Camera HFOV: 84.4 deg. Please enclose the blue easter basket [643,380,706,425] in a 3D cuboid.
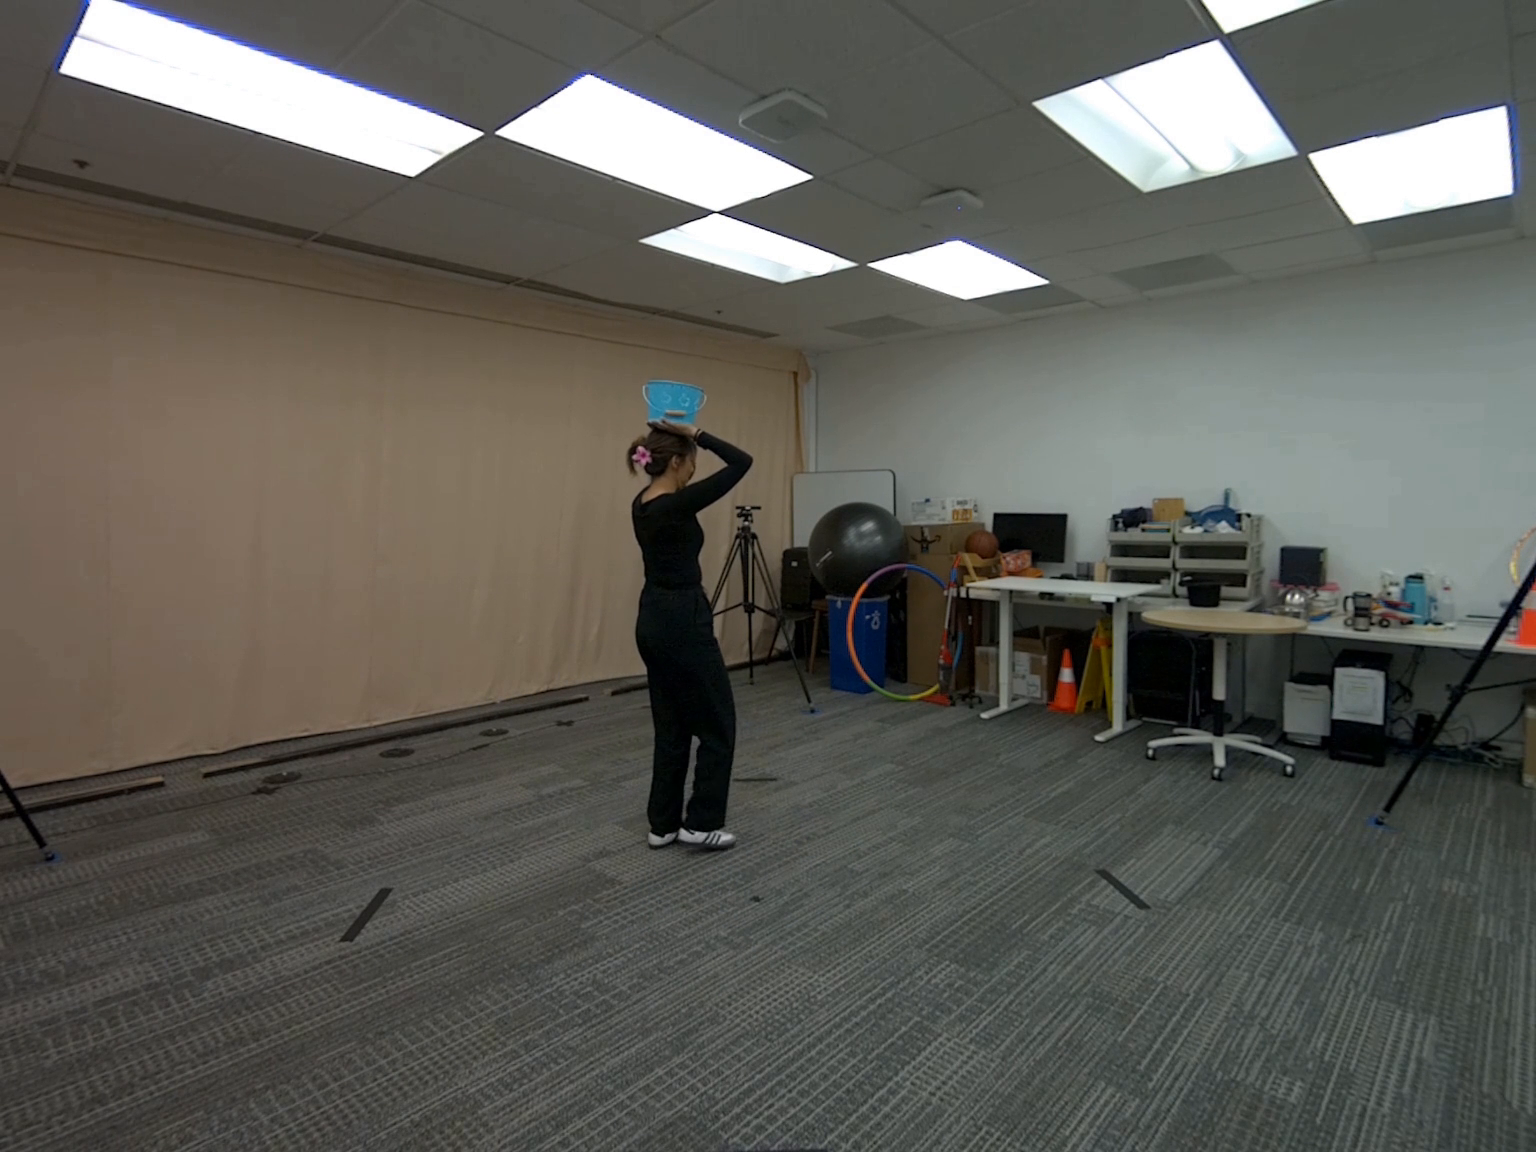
[{"bbox_3d":[-0.382,-0.672,3.352,0.243,0.156,0.244,5,0,-2],"label":"blue easter basket"}]
